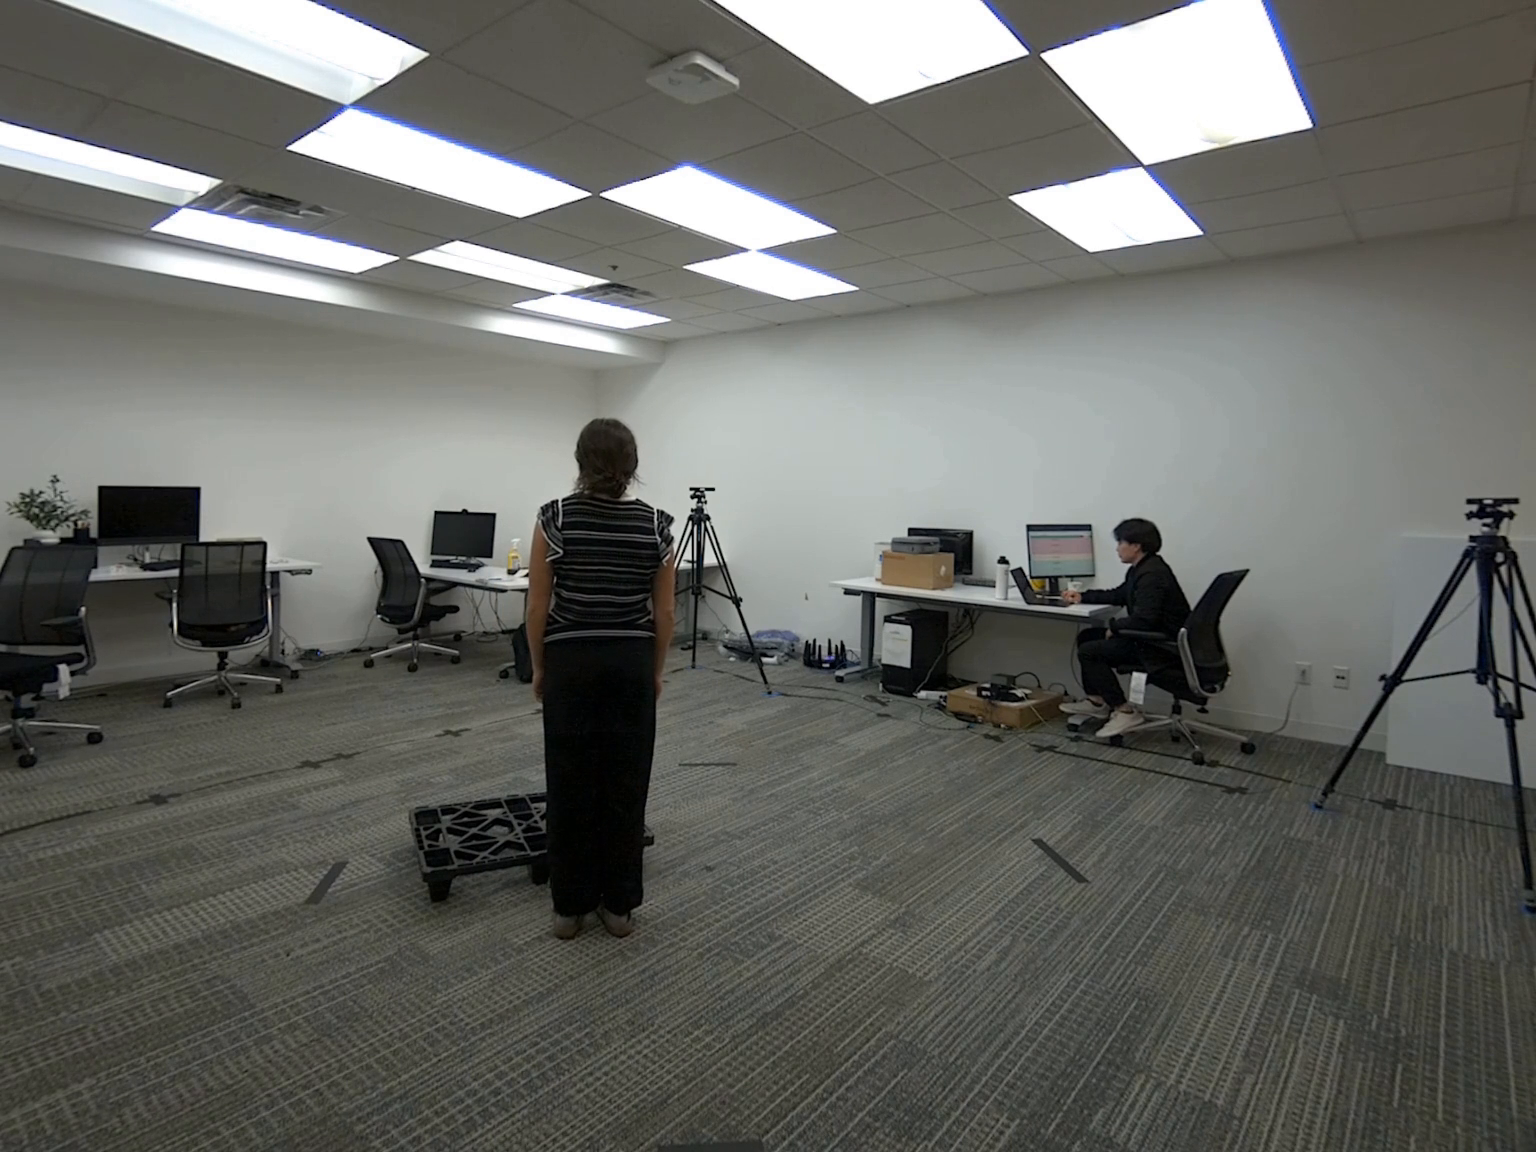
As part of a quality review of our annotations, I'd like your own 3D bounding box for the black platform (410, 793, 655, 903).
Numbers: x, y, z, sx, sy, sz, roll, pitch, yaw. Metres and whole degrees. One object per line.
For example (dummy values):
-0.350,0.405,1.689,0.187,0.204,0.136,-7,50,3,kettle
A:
-0.909,0.986,3.174,0.786,0.142,0.623,-2,7,-26,black platform
